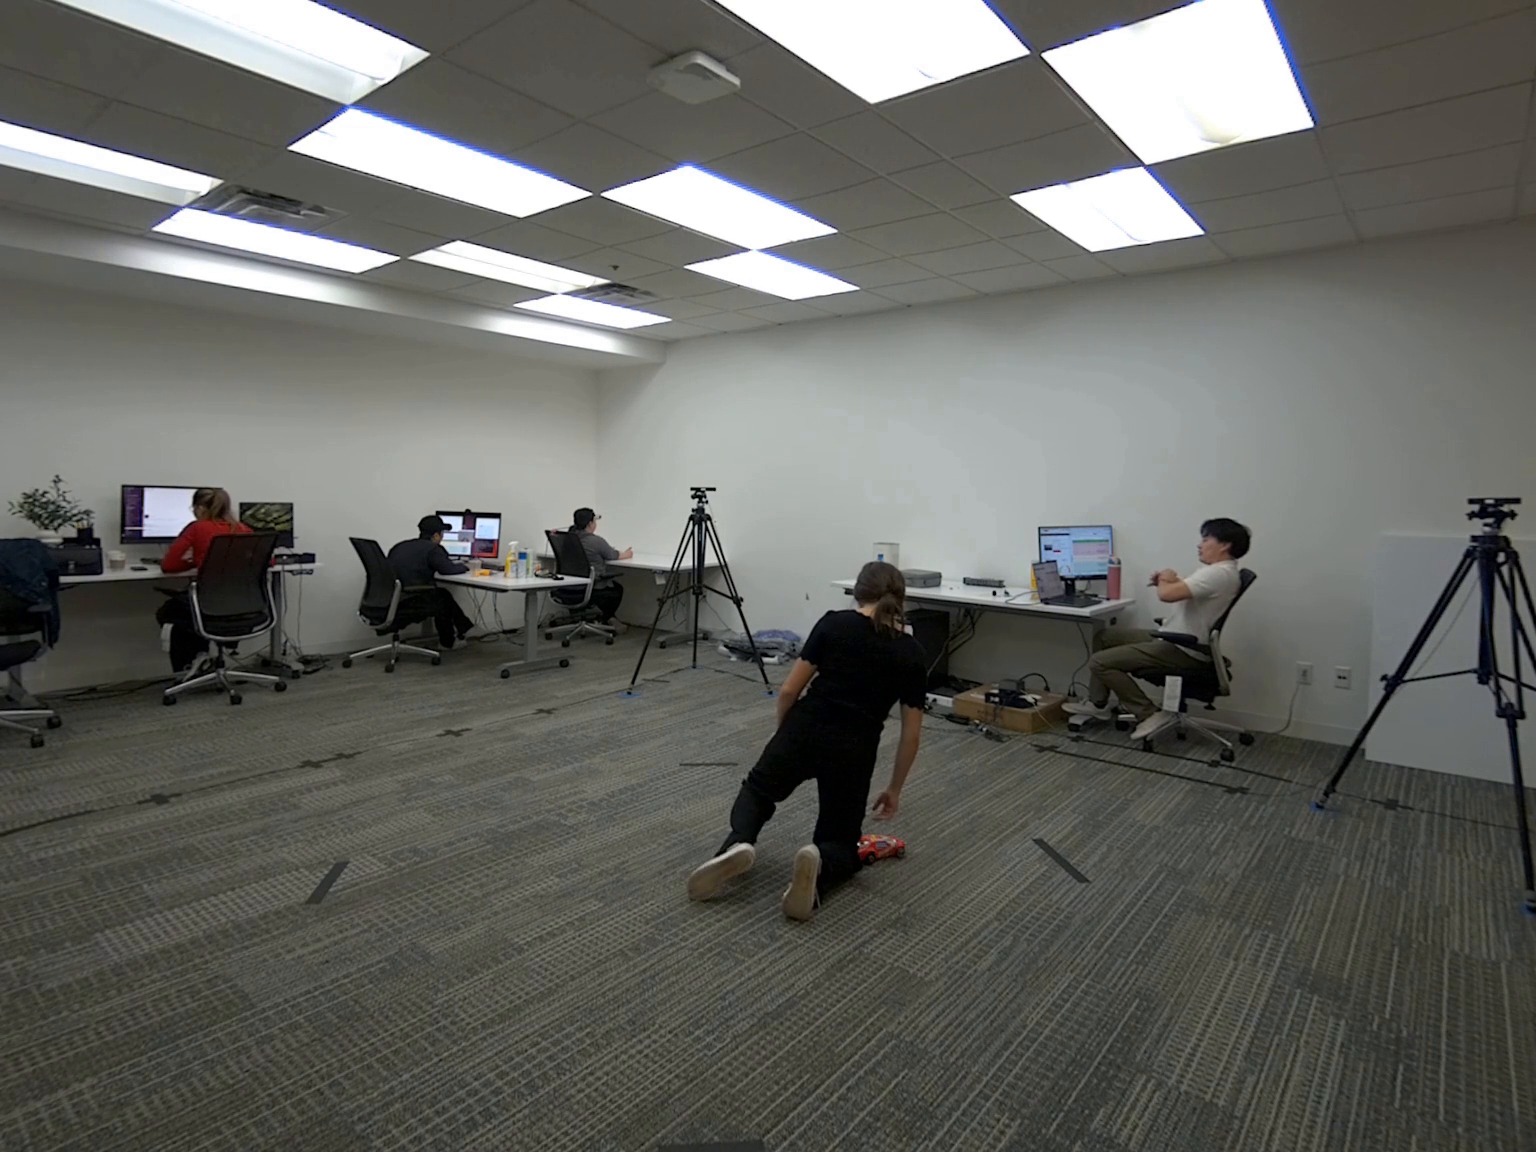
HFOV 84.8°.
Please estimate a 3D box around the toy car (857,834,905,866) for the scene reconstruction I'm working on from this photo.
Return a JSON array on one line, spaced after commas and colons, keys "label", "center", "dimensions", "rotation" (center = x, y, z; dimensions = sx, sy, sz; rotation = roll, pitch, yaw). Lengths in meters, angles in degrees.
[{"label": "toy car", "center": [0.394, 1.039, 3.237], "dimensions": [0.247, 0.083, 0.134], "rotation": [11, 1, -28]}]
